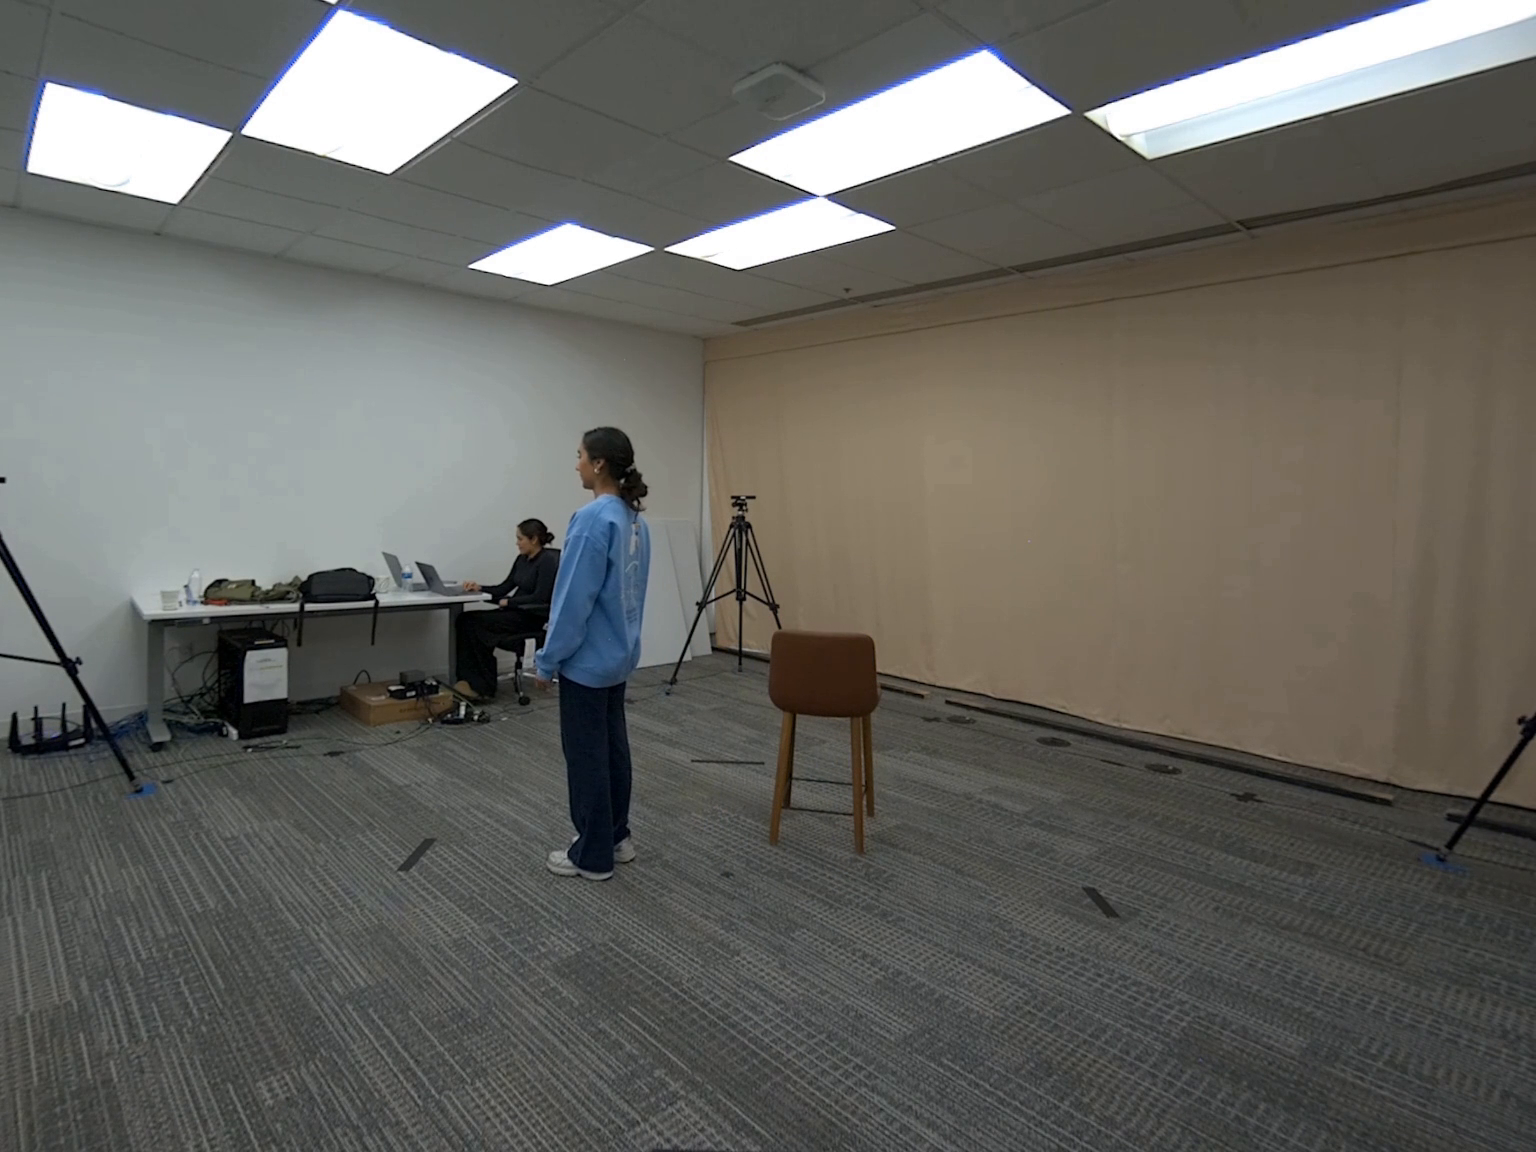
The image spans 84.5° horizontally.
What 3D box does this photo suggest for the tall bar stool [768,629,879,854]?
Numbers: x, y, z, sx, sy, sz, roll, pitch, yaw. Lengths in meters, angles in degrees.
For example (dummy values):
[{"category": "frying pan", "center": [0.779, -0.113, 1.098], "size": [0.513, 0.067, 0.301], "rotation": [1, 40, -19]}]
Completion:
[{"category": "tall bar stool", "center": [0.234, 0.640, 3.543], "size": [0.461, 0.887, 0.464], "rotation": [2, 4, 13]}]
